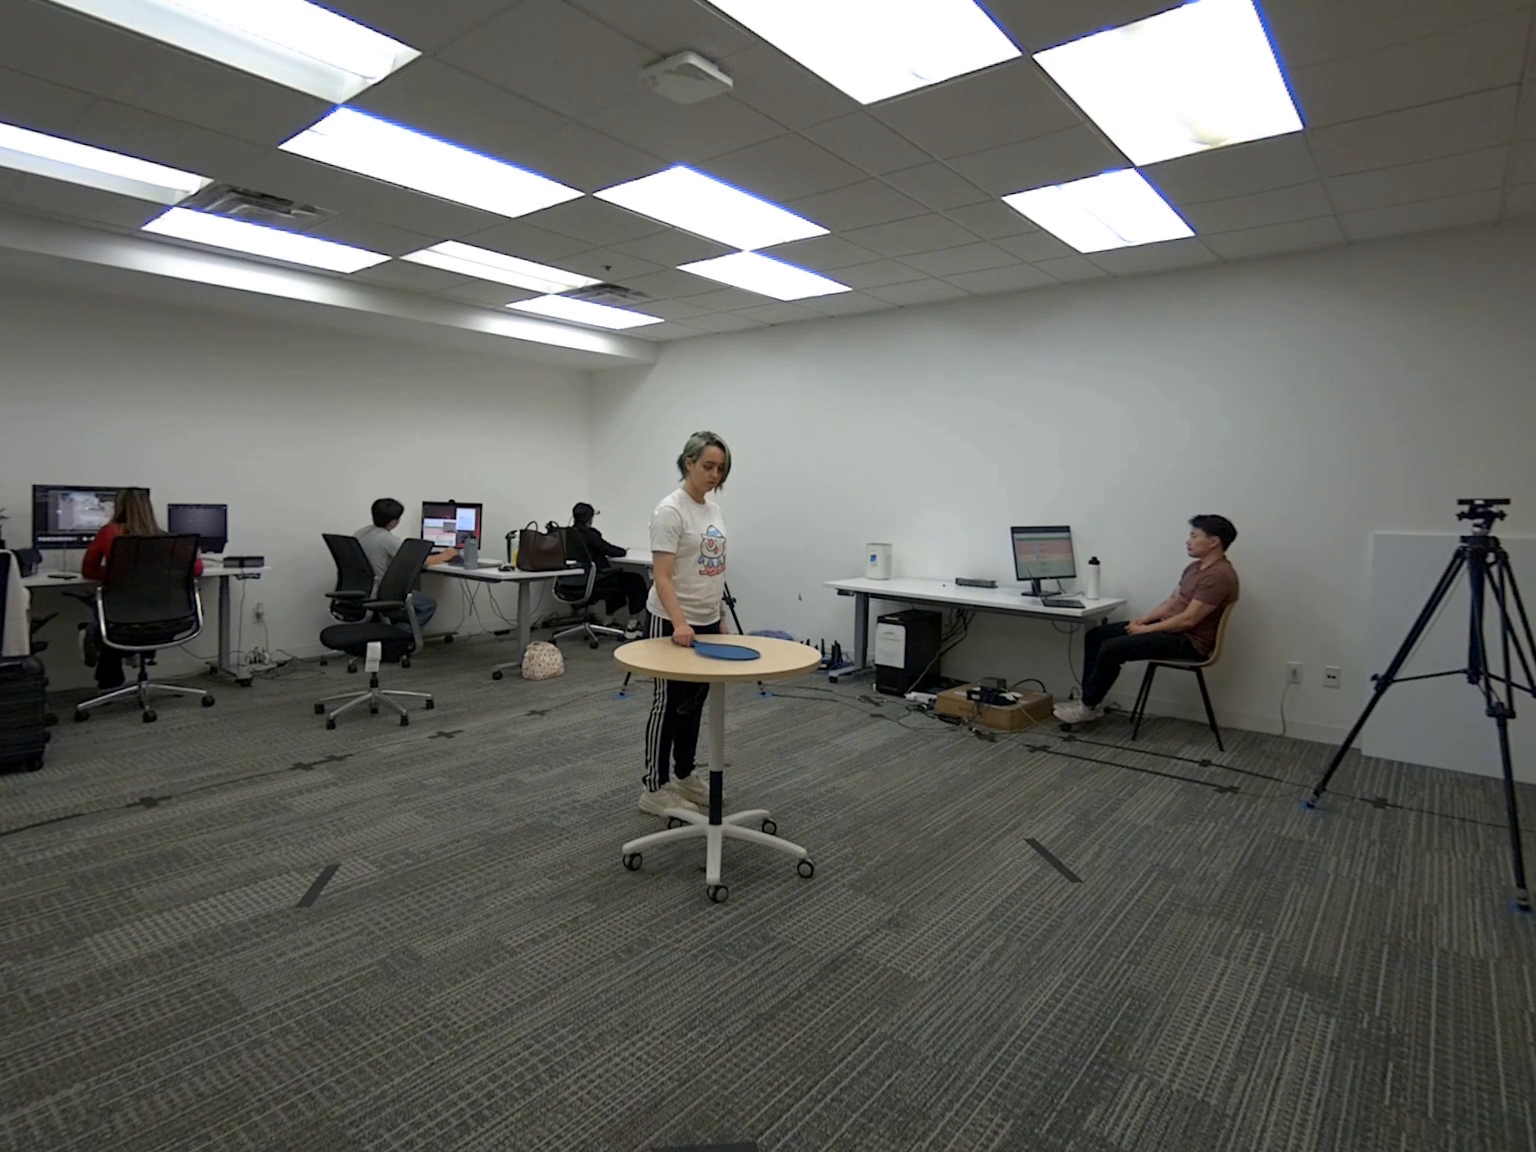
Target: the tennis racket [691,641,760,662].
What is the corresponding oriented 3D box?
[{"bbox_3d":[-0.213,0.271,3.174,0.207,0.031,0.448,-3,8,-41],"label":"tennis racket"}]
